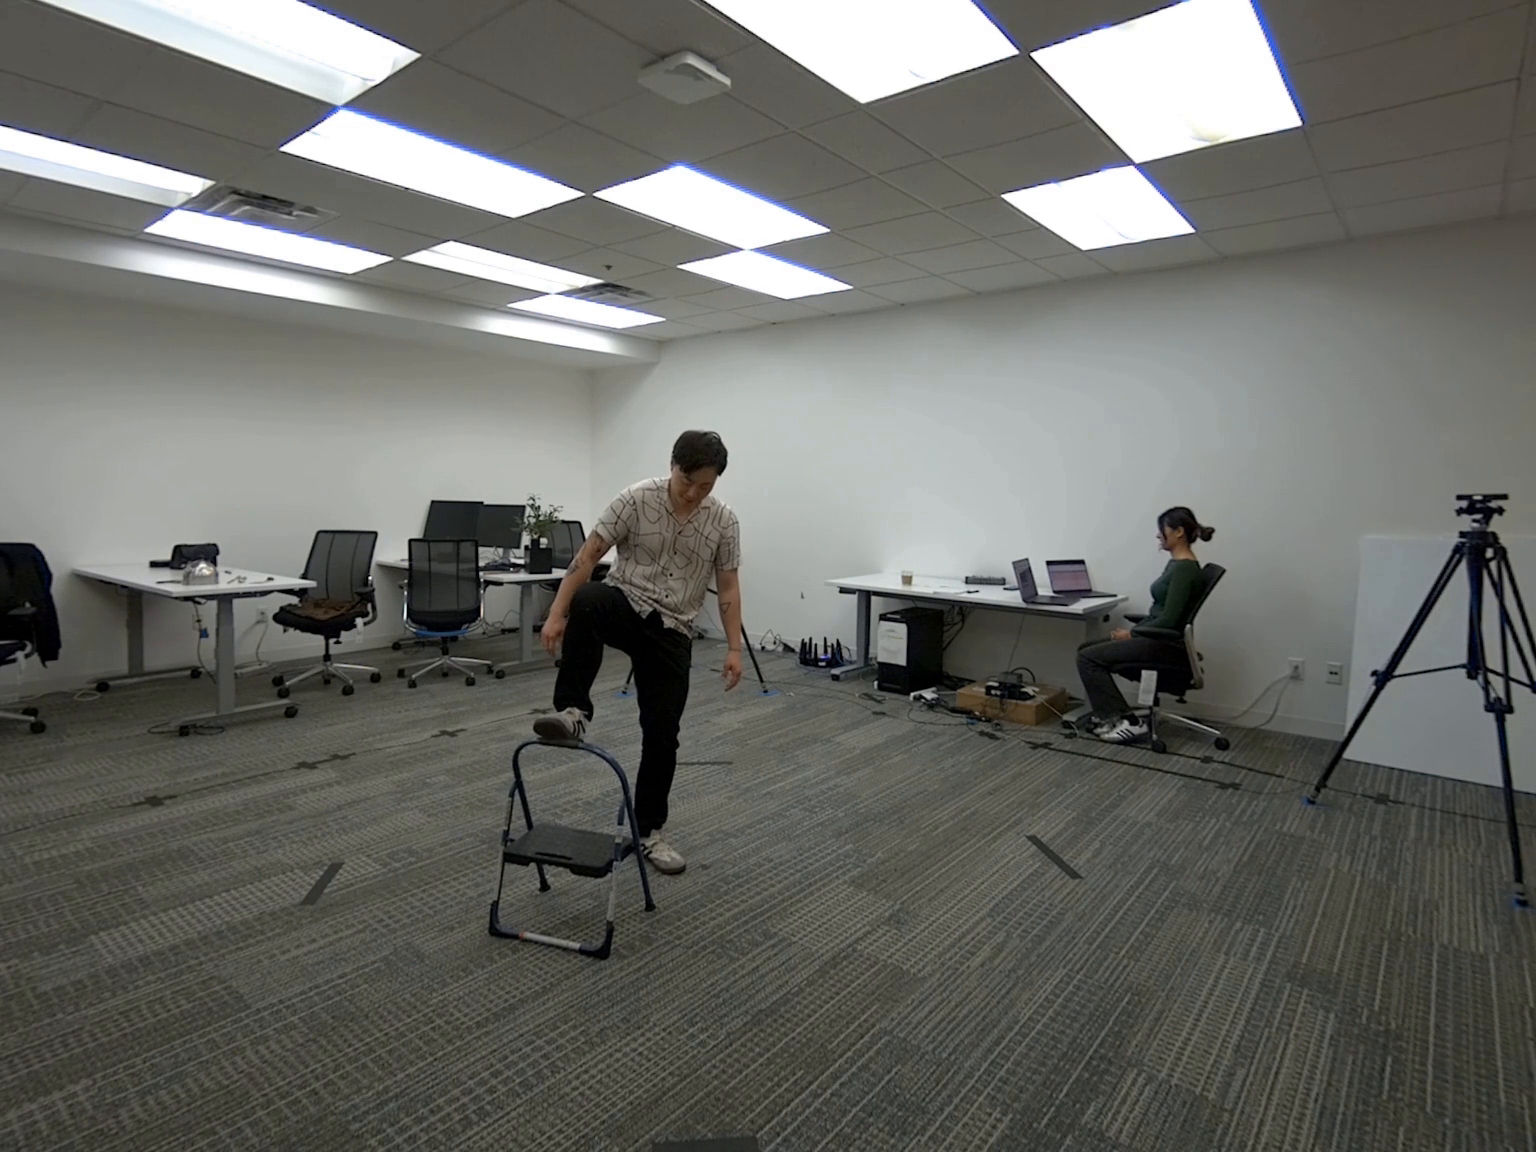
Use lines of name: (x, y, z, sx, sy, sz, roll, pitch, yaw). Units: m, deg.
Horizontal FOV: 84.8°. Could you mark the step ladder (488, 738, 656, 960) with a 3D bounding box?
step ladder: (-0.636, 0.796, 2.693, 0.439, 0.604, 0.344, 1, 4, 17)
